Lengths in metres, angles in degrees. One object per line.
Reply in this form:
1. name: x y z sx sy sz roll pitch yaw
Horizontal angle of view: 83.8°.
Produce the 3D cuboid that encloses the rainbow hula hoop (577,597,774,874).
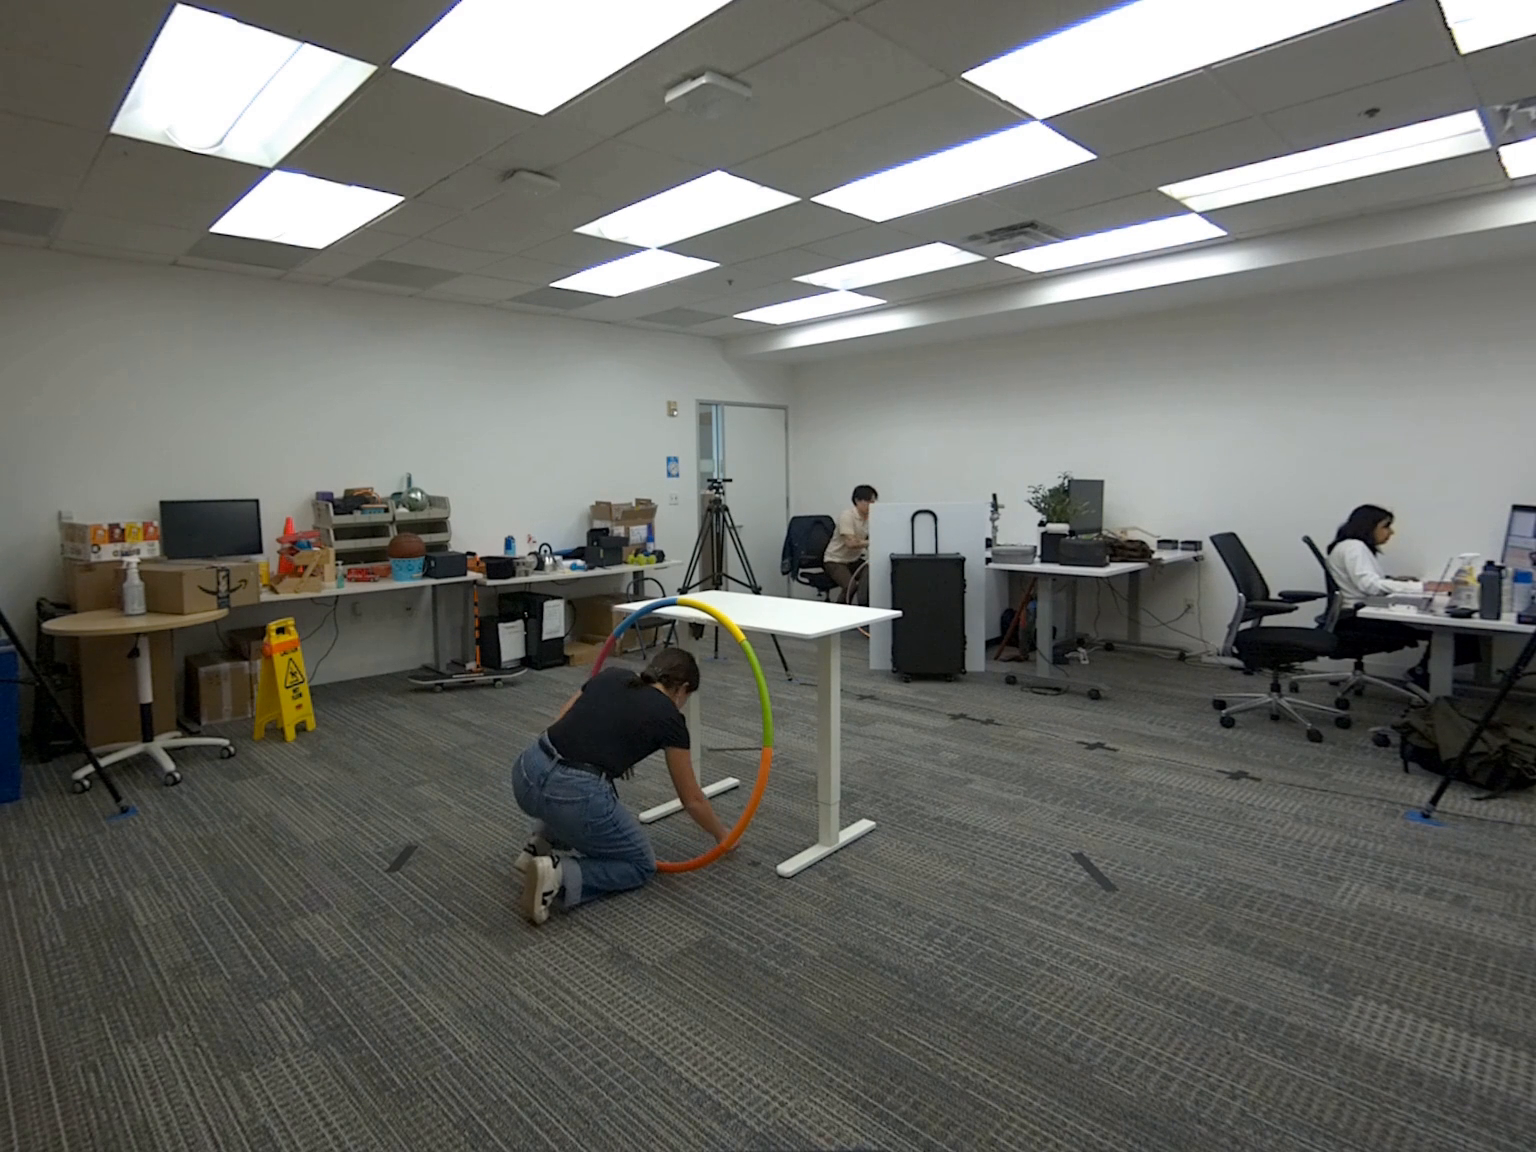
1. rainbow hula hoop: -0.384 0.569 3.155 1.008 0.984 0.034 3 -9 41
